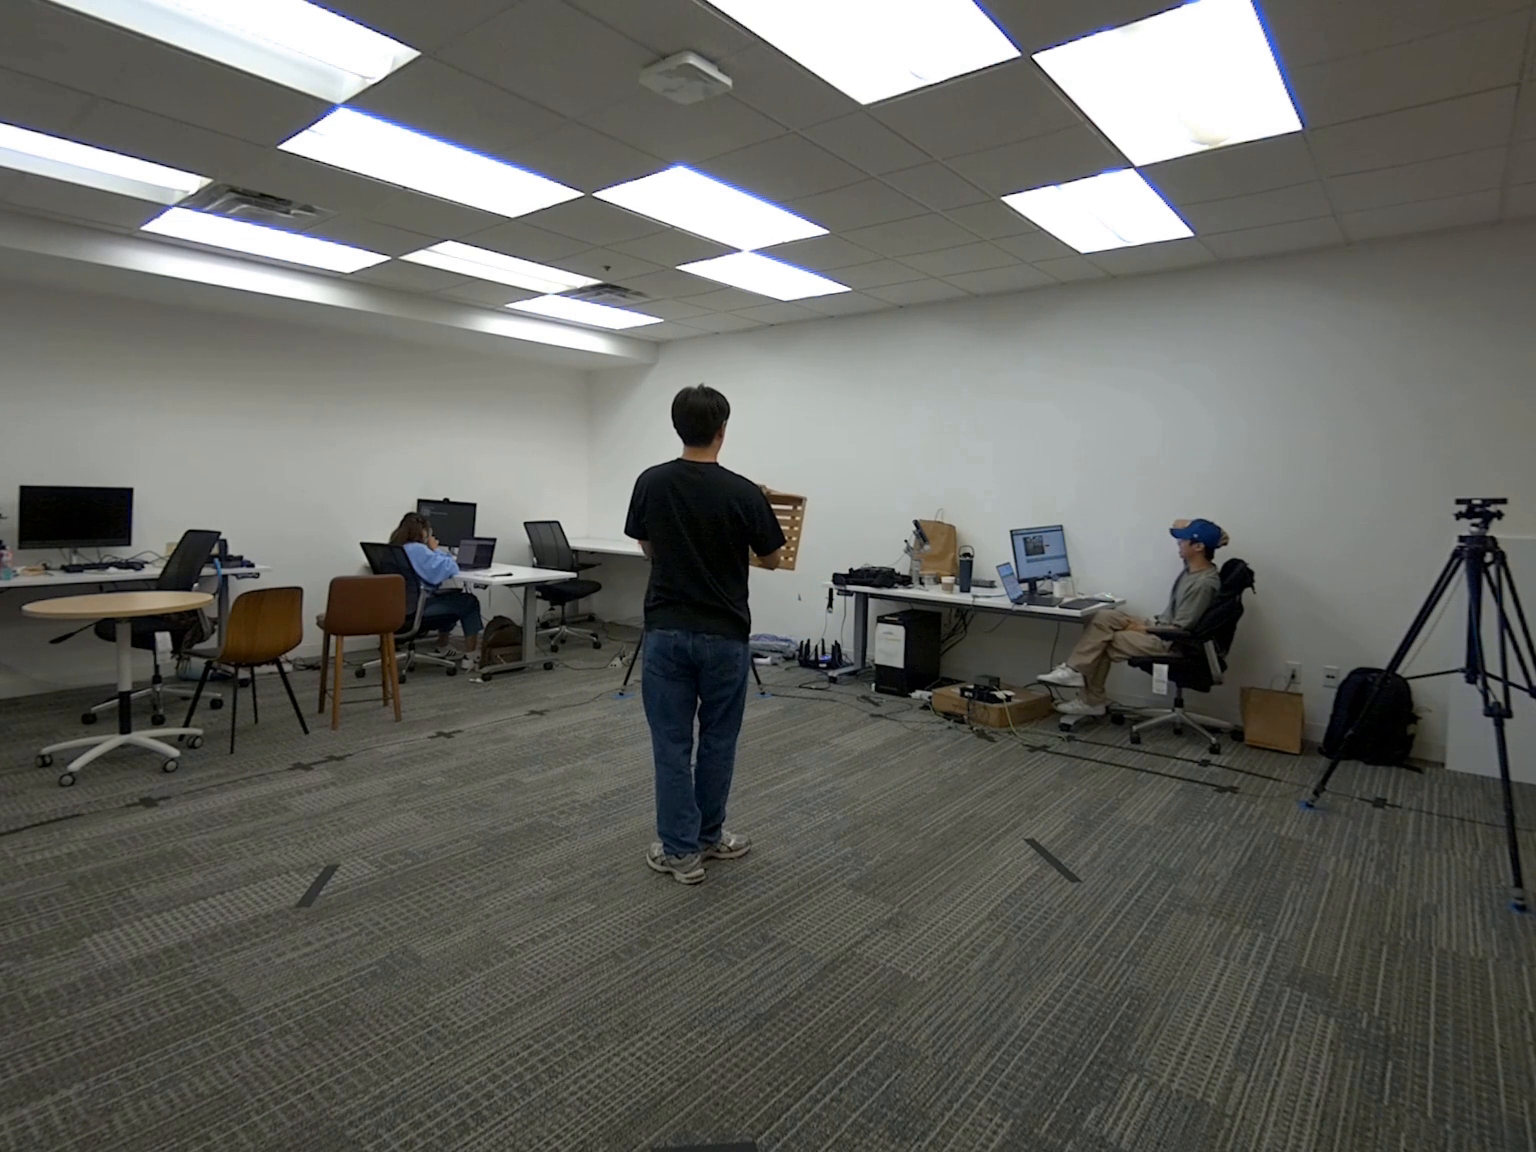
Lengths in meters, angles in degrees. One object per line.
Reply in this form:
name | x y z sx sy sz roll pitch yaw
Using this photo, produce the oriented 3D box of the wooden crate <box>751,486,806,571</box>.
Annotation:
wooden crate | -0.052 -0.206 3.463 0.312 0.326 0.263 6 -8 35
